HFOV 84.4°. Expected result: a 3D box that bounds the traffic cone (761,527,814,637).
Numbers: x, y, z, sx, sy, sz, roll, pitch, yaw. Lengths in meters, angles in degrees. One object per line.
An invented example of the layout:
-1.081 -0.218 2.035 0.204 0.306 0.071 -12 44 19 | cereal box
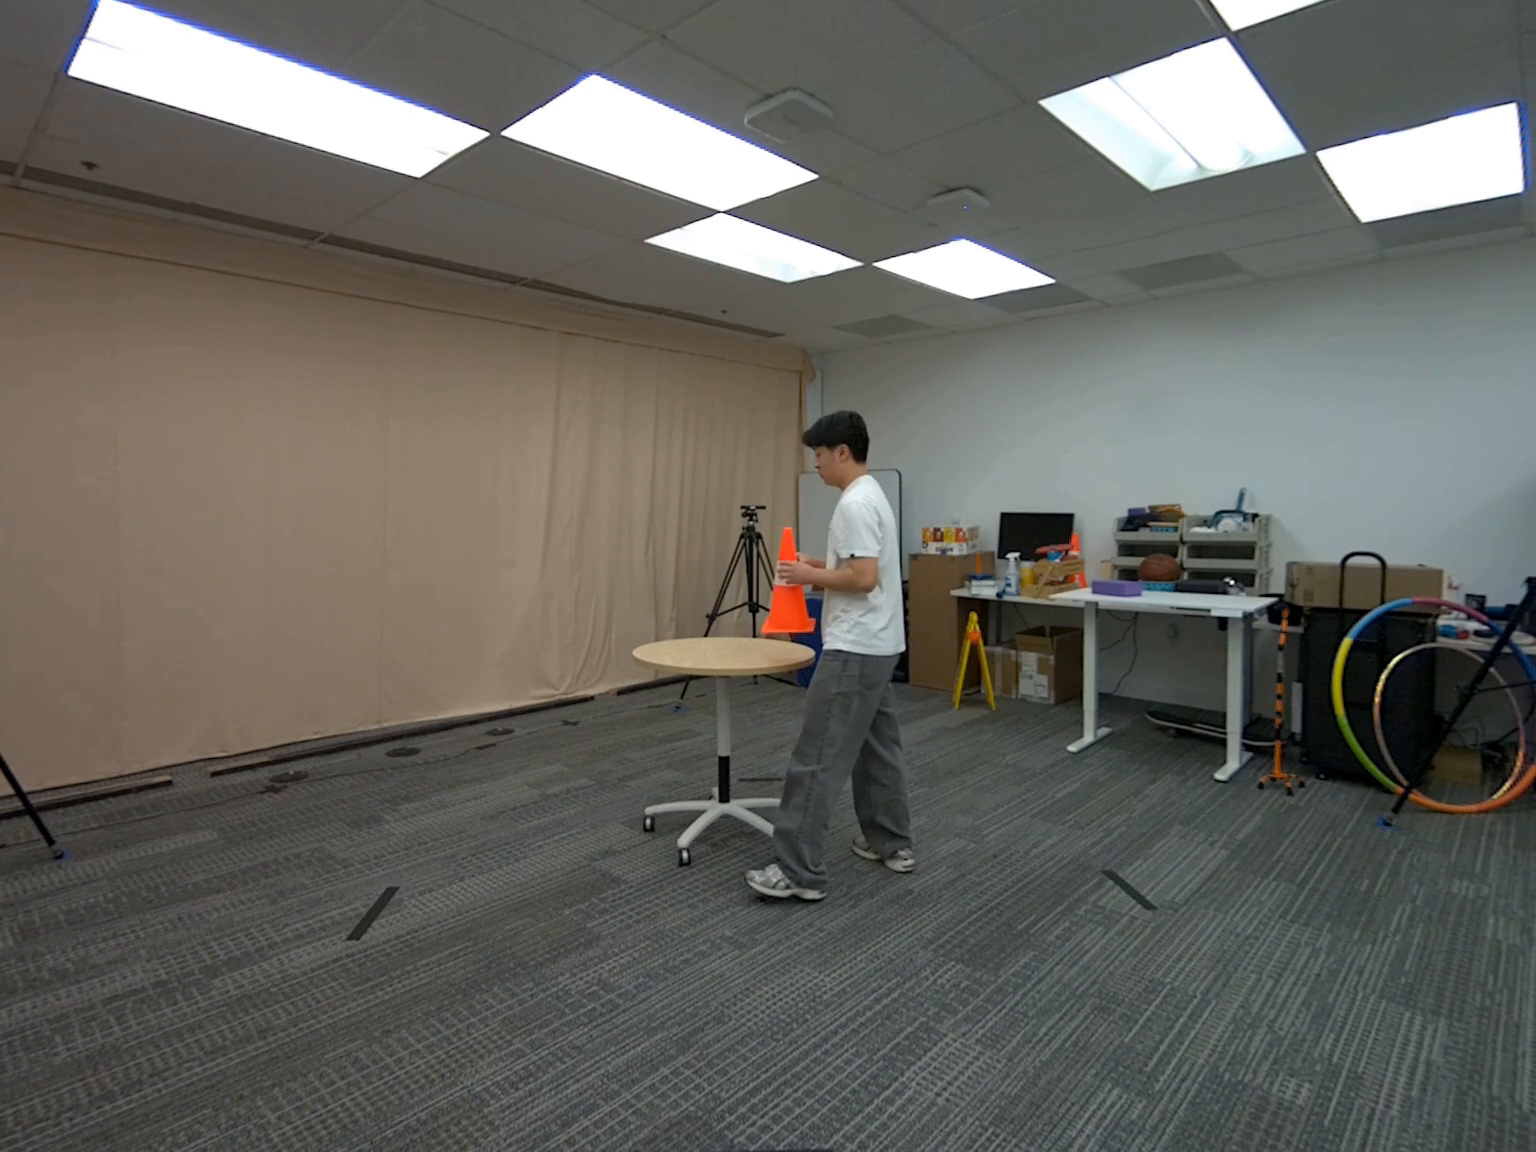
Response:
0.088 0.012 3.230 0.206 0.381 0.204 1 9 9 | traffic cone
